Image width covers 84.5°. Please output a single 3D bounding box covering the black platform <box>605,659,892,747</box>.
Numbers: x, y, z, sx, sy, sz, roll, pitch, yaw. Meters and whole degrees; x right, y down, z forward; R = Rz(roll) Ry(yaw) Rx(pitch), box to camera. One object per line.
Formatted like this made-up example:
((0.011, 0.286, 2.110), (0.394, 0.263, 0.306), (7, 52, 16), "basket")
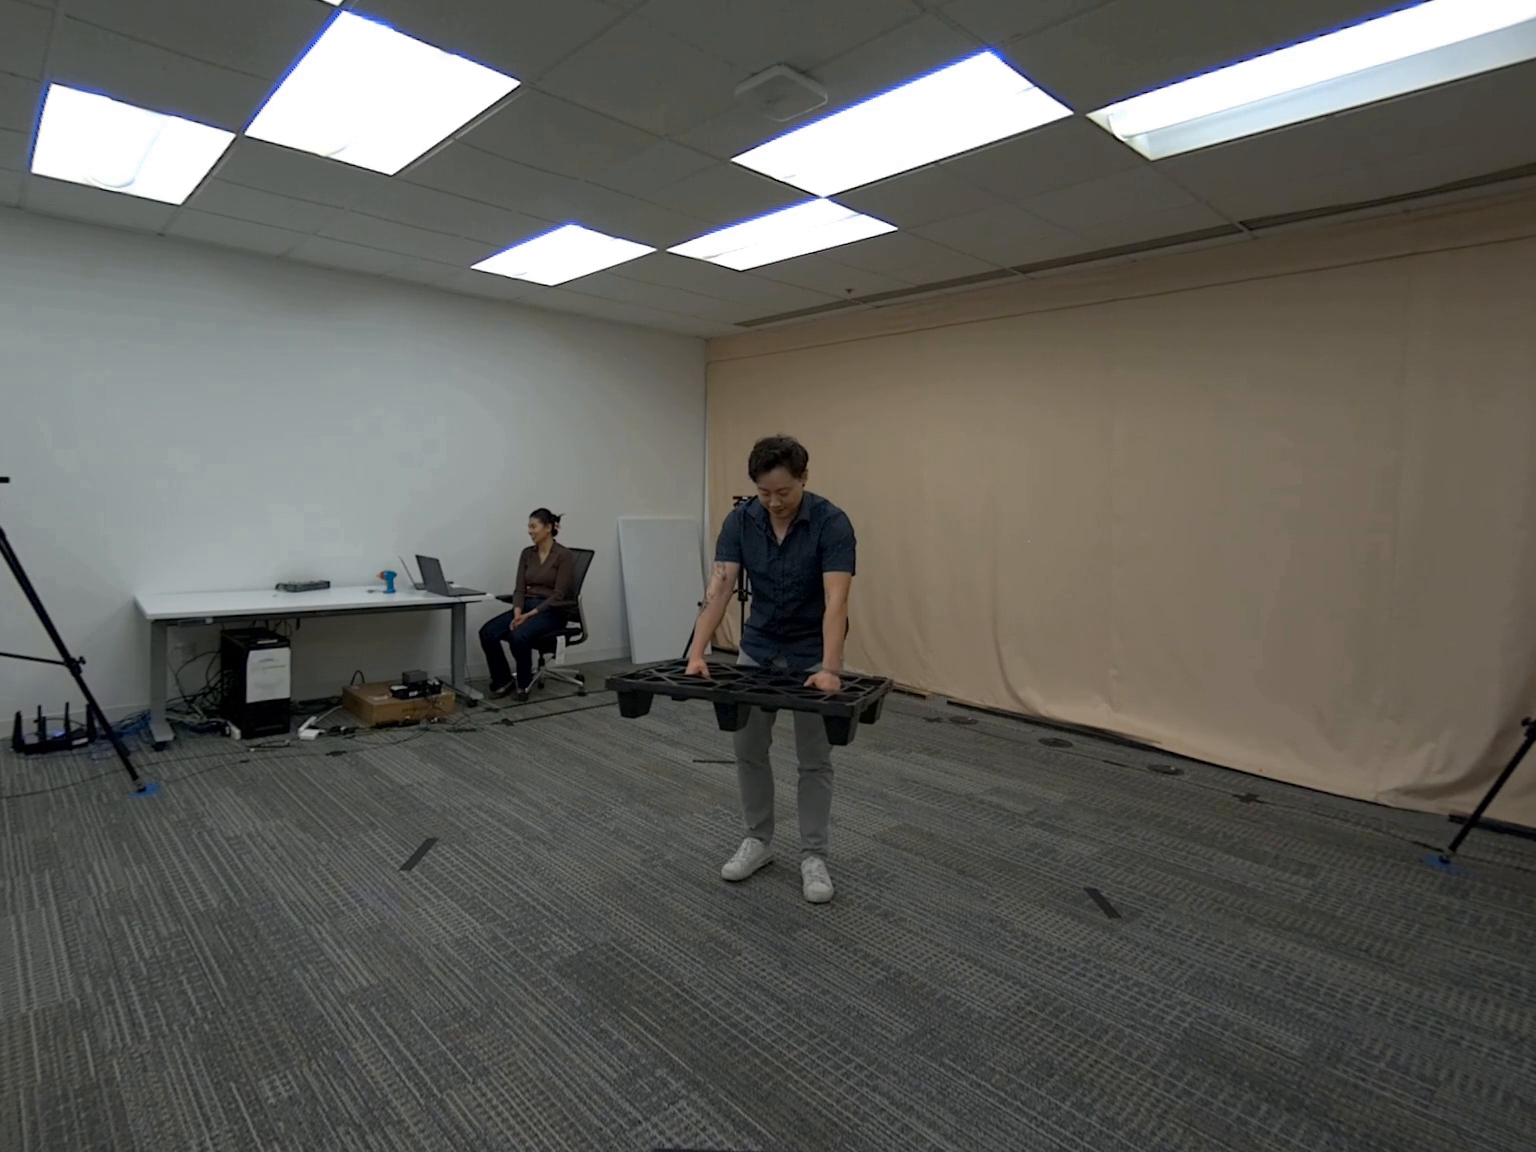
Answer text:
((-0.053, 0.416, 2.752), (0.819, 0.143, 0.595), (3, 1, 21), "black platform")
